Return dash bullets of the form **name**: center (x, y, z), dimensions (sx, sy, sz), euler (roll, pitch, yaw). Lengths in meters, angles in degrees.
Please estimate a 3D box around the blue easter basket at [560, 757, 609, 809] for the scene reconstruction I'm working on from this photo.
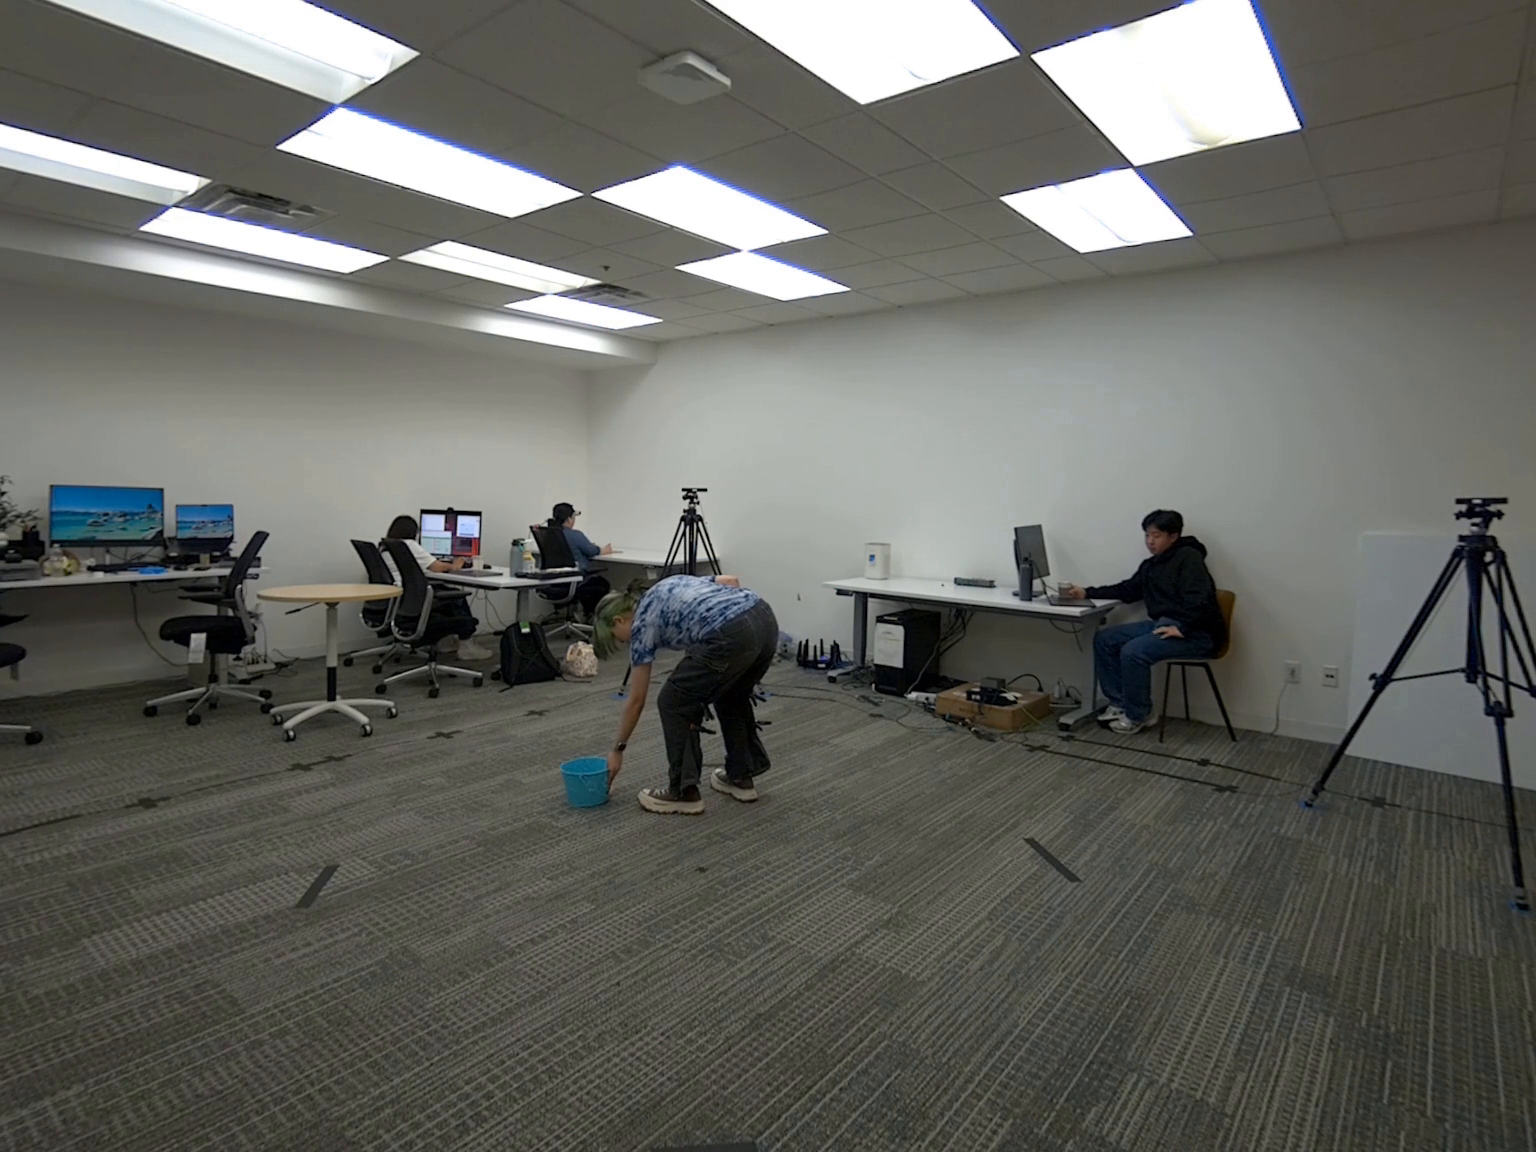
- **blue easter basket**: center (-0.807, 0.915, 3.789), dimensions (0.243, 0.155, 0.245), euler (-1, 6, -2)
